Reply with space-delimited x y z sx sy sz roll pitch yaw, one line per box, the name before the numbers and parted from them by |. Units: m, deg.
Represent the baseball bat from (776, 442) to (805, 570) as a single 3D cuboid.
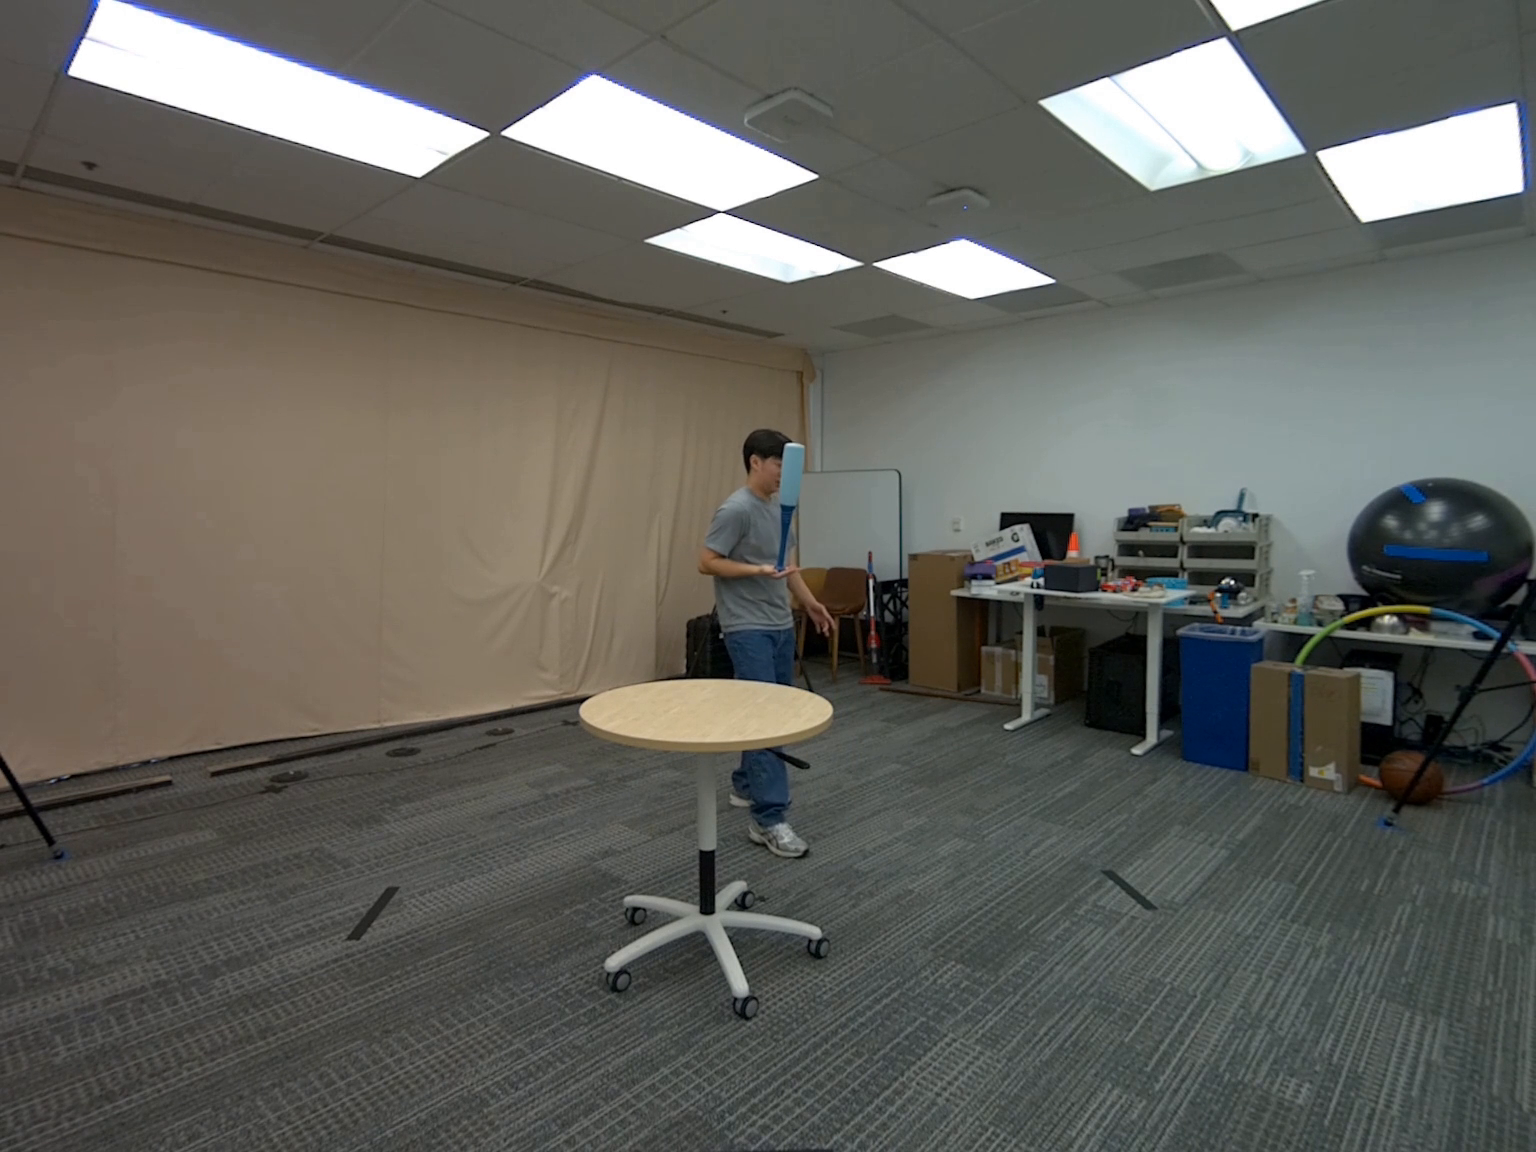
baseball bat | 0.088 -0.273 3.486 0.089 0.540 0.090 5 11 -3
